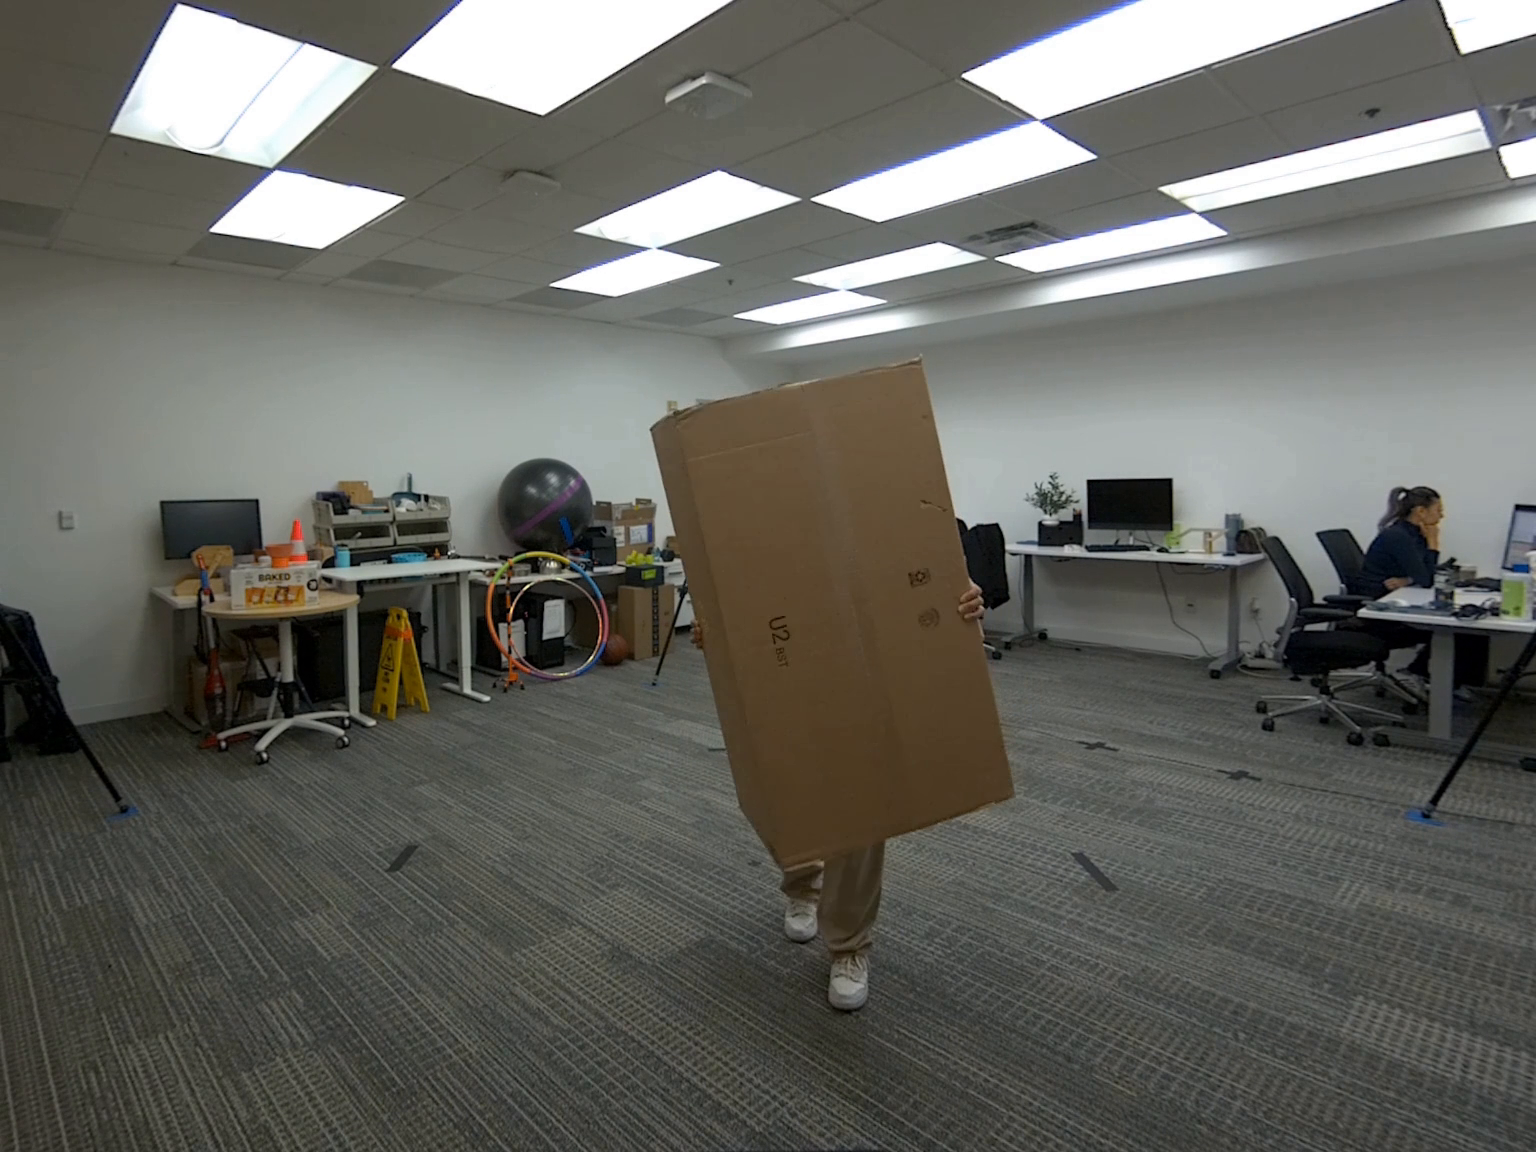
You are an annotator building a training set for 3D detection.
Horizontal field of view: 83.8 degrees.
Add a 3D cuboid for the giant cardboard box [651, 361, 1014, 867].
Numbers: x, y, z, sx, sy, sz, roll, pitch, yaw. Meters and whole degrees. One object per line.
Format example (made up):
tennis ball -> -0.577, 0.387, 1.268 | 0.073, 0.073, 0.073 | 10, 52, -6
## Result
giant cardboard box -> 0.133, 0.066, 2.061 | 0.572, 1.020, 0.432 | -14, 5, -12
